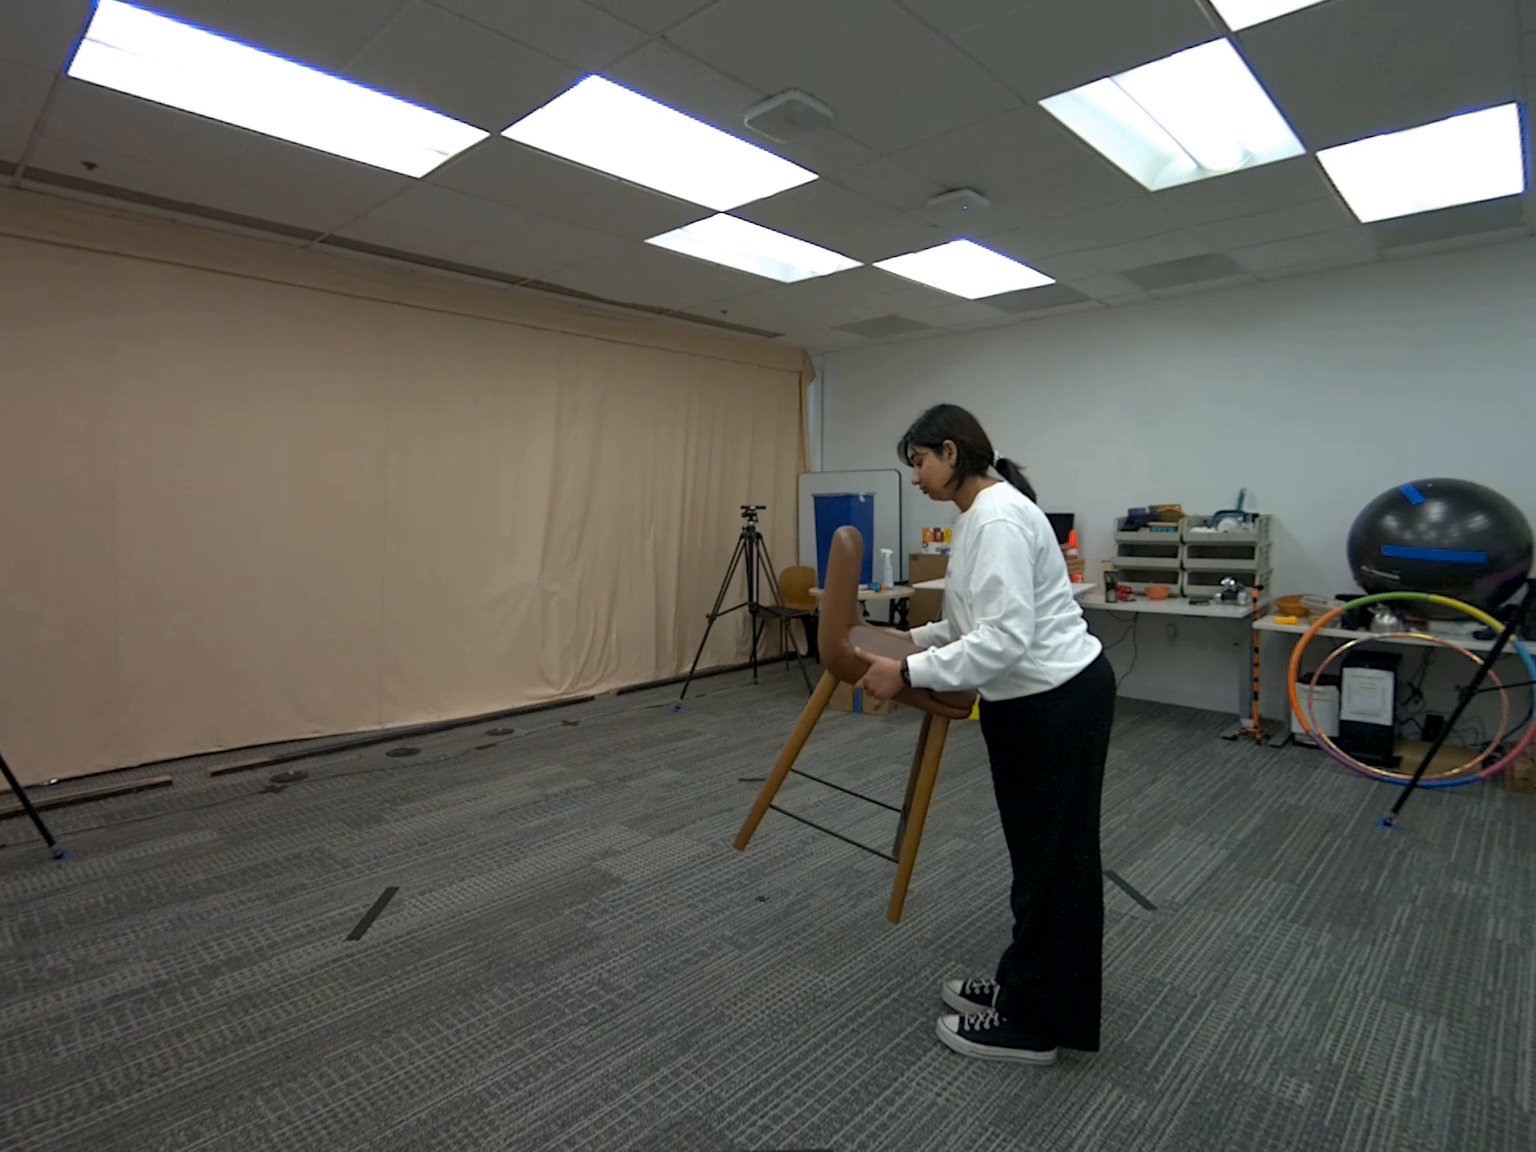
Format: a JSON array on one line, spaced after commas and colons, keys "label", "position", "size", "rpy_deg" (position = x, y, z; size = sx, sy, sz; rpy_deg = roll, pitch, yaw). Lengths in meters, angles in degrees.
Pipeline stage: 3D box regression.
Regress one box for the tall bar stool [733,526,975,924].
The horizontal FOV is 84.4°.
[{"label": "tall bar stool", "position": [0.303, 0.368, 2.260], "size": [0.474, 0.888, 0.451], "rpy_deg": [18, 7, 11]}]
